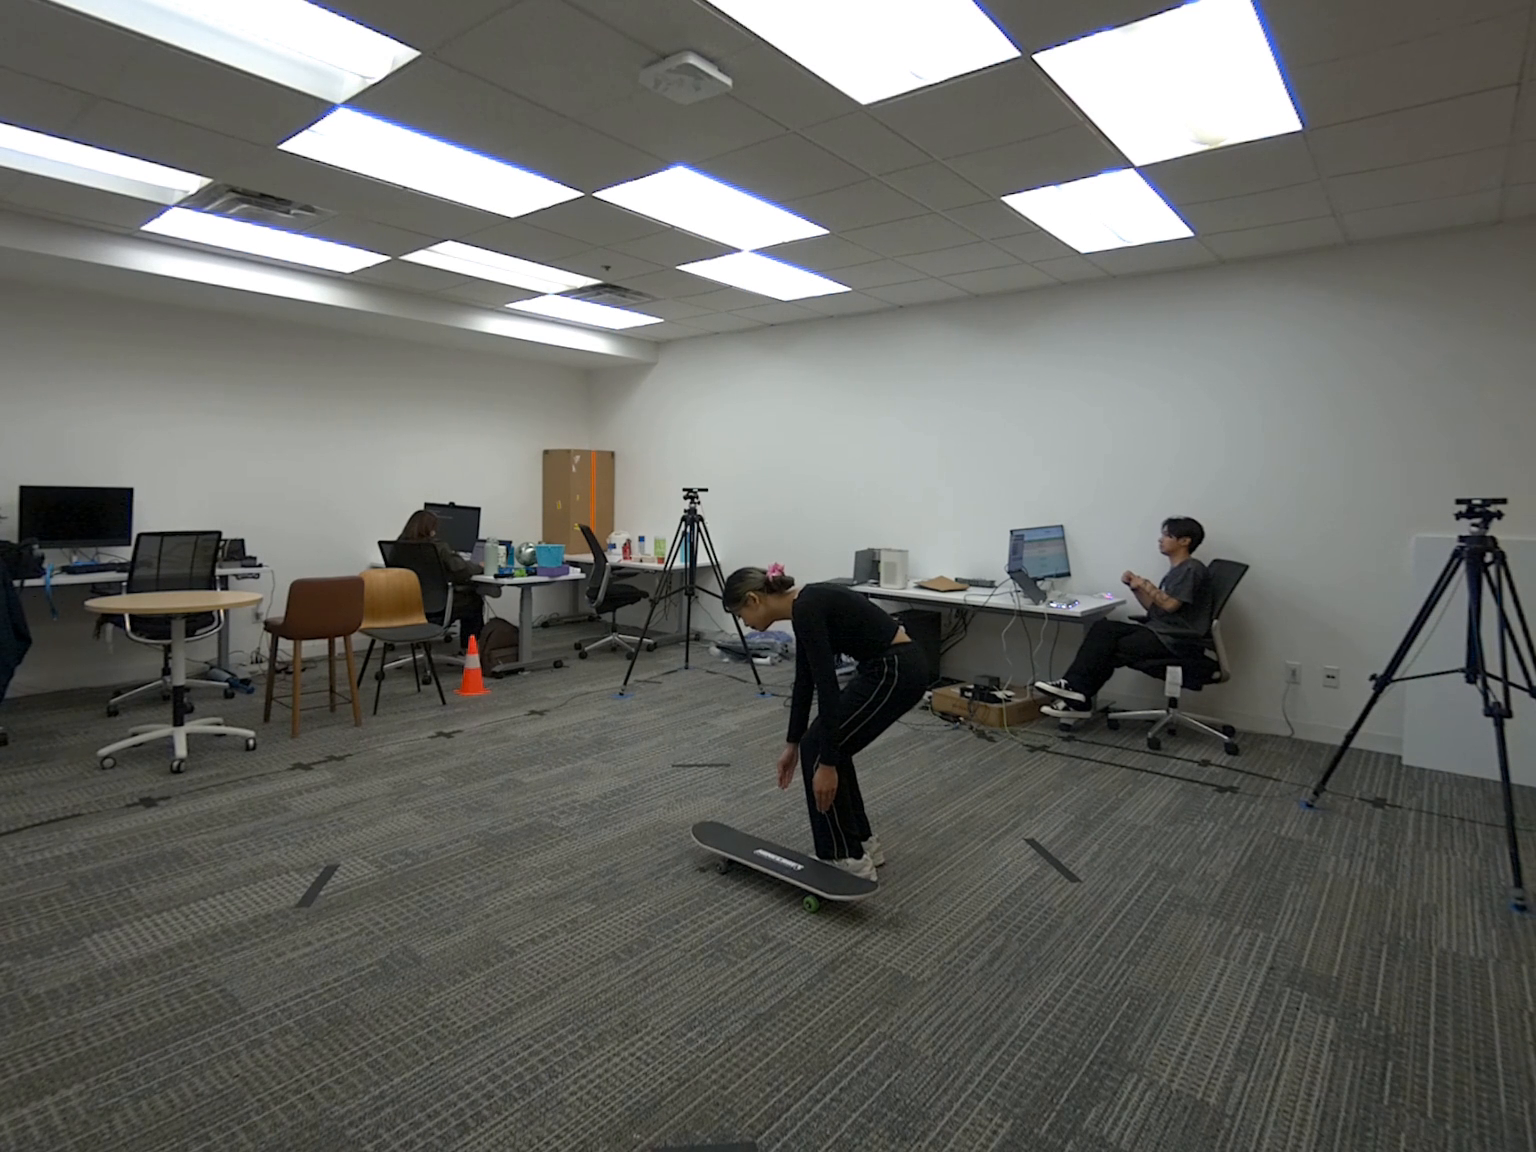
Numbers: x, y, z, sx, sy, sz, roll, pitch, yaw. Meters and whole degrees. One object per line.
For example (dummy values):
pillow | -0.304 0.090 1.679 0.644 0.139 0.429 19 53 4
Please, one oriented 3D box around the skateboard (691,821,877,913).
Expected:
skateboard | 0.031 1.029 3.000 0.812 0.110 0.188 6 8 40
